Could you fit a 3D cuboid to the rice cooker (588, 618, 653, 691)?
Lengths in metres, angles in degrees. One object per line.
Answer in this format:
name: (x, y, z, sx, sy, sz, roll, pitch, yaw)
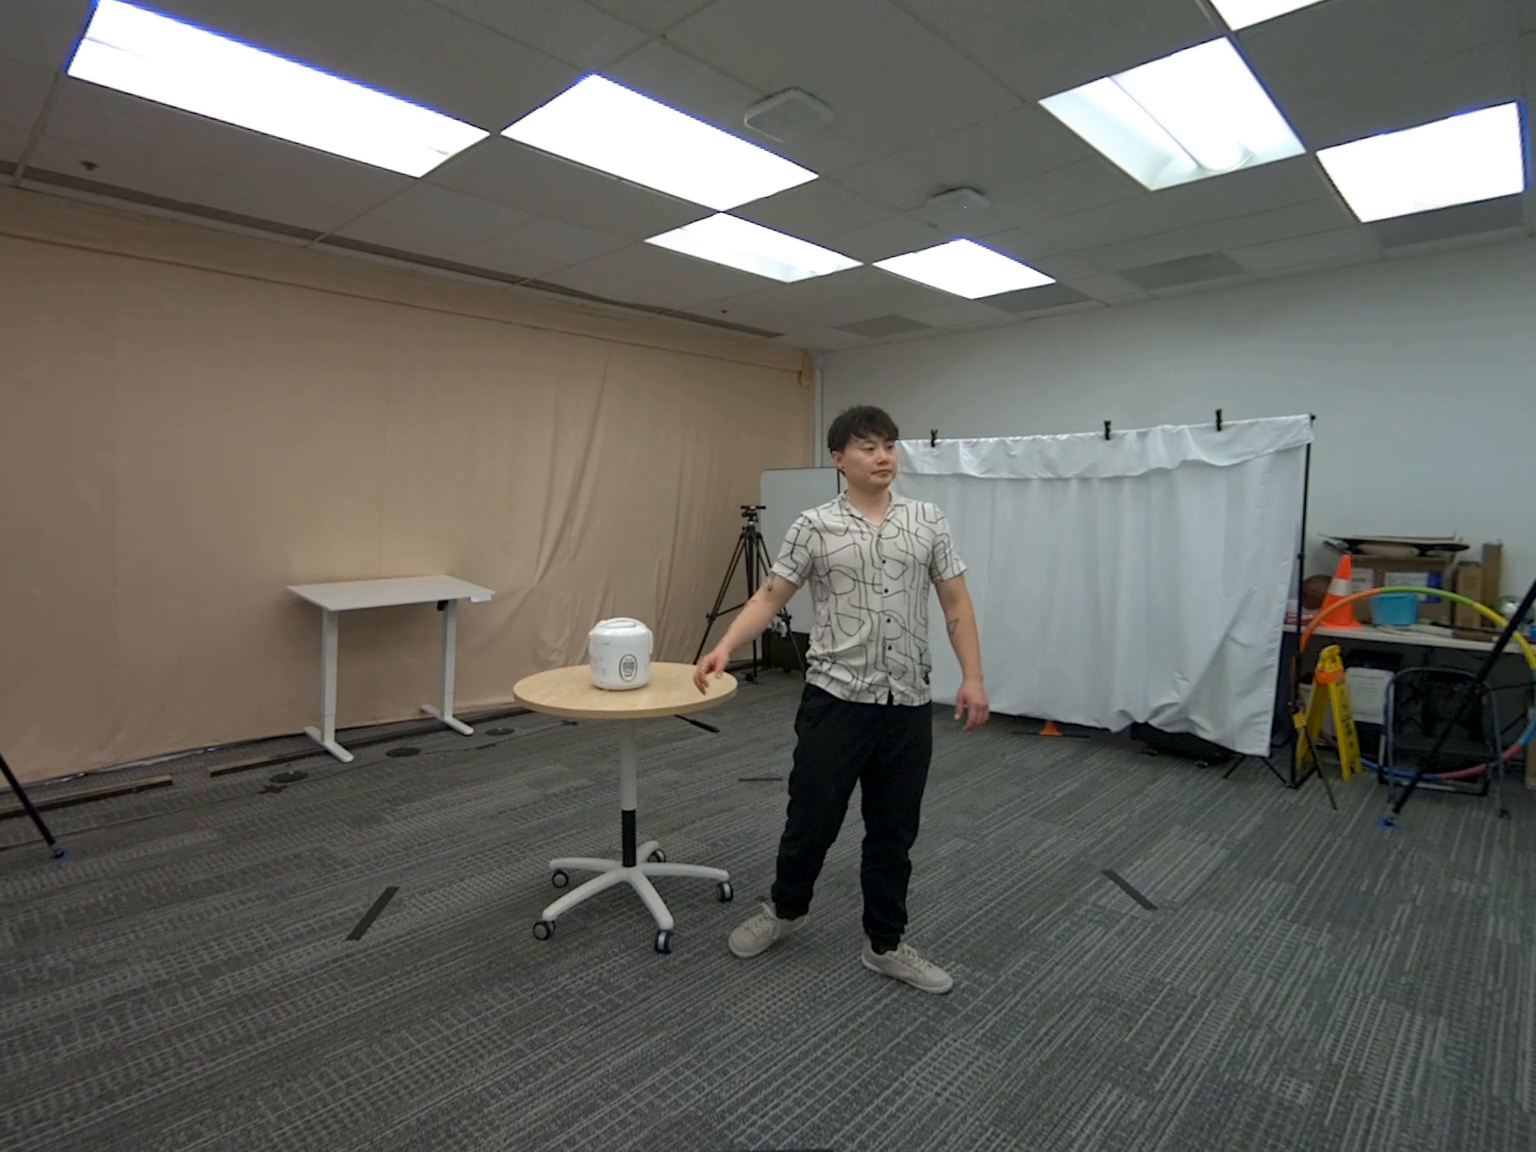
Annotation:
rice cooker: (-0.499, 0.257, 2.865, 0.216, 0.232, 0.222, -2, 4, -22)
